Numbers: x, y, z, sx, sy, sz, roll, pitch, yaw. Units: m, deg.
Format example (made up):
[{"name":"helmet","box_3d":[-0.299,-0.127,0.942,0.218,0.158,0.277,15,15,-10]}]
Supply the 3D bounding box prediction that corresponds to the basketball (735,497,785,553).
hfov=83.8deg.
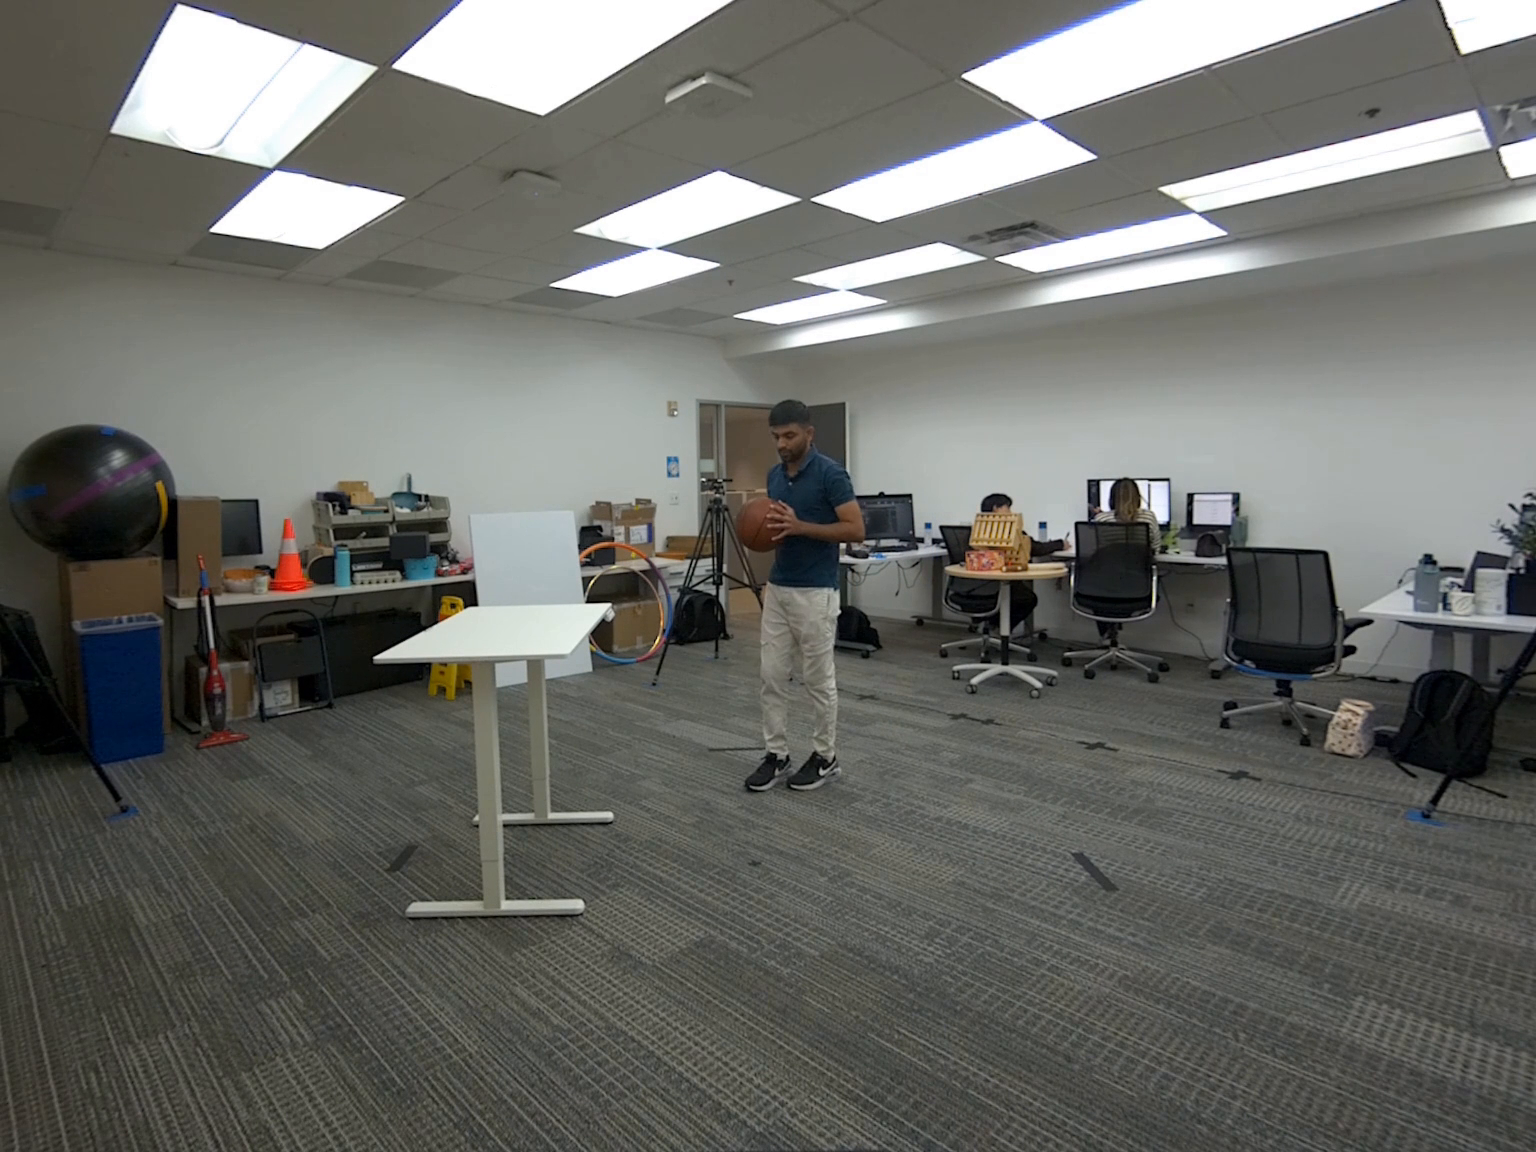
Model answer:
[{"name":"basketball","box_3d":[-0.033,-0.225,3.705,0.236,0.235,0.237,-1,5,-2]}]
